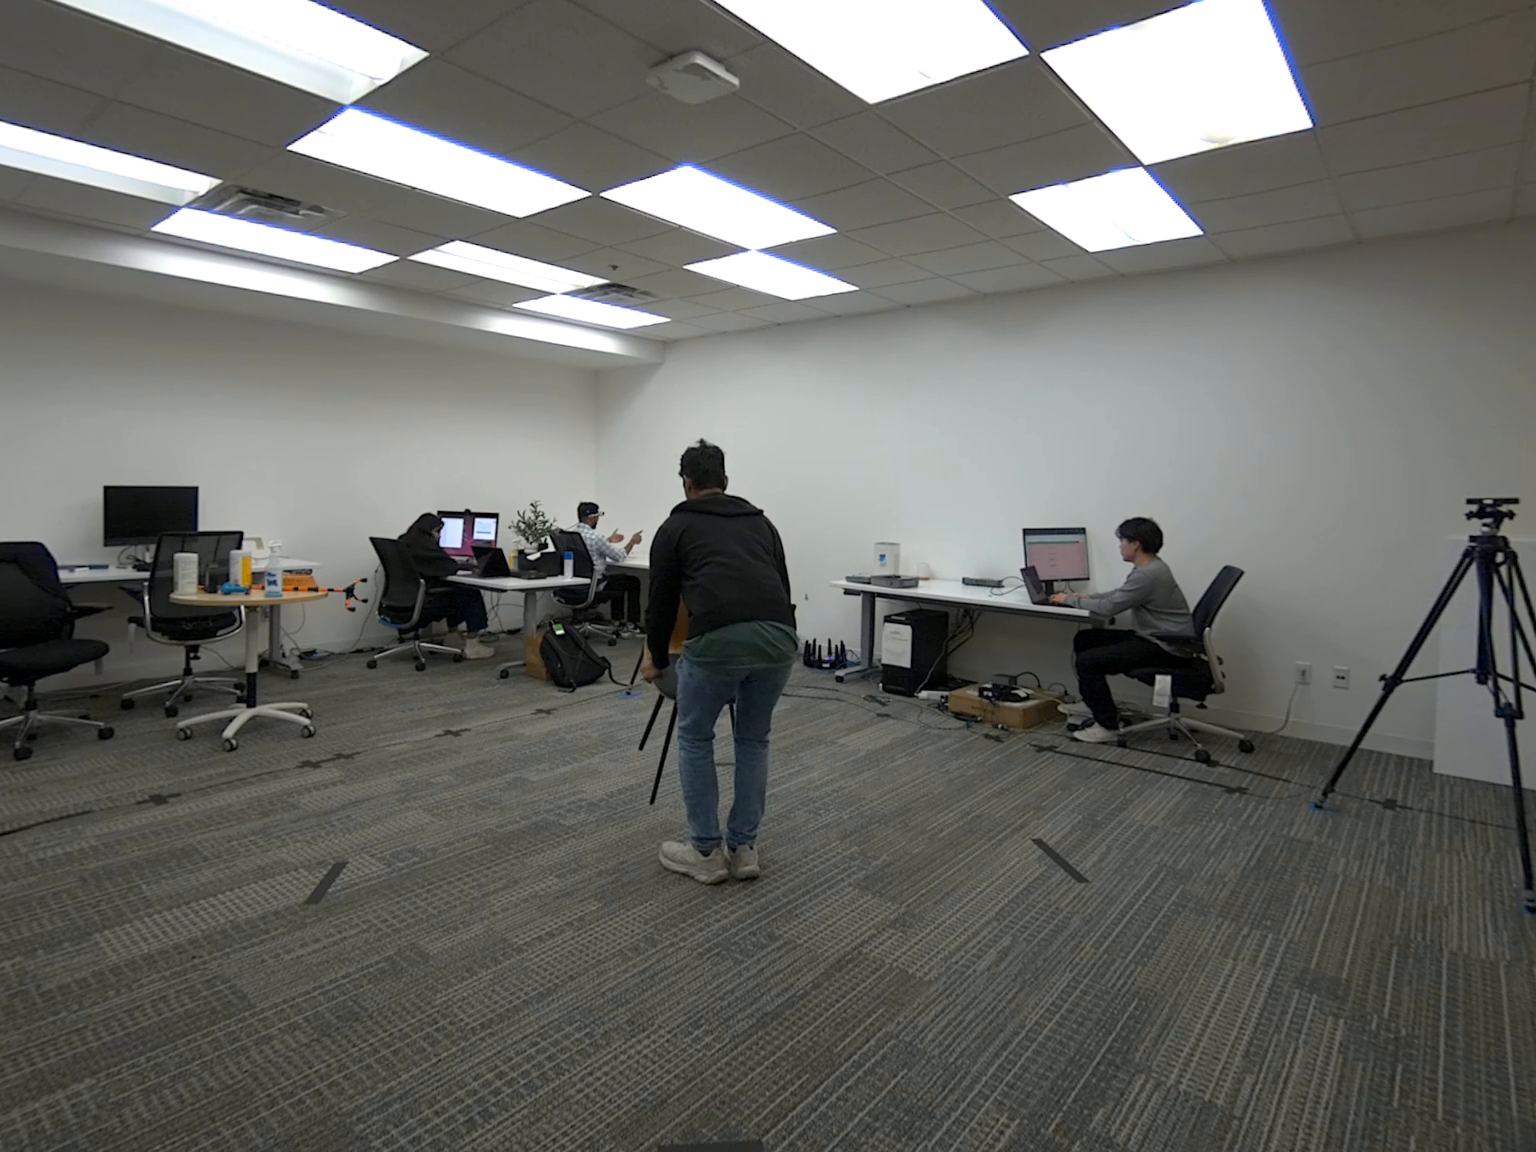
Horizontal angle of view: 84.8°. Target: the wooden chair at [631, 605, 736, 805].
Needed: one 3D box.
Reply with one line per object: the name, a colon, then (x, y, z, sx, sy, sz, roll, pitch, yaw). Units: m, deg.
wooden chair: (-0.264, 0.412, 3.452, 0.471, 0.870, 0.535, 2, 10, -15)
